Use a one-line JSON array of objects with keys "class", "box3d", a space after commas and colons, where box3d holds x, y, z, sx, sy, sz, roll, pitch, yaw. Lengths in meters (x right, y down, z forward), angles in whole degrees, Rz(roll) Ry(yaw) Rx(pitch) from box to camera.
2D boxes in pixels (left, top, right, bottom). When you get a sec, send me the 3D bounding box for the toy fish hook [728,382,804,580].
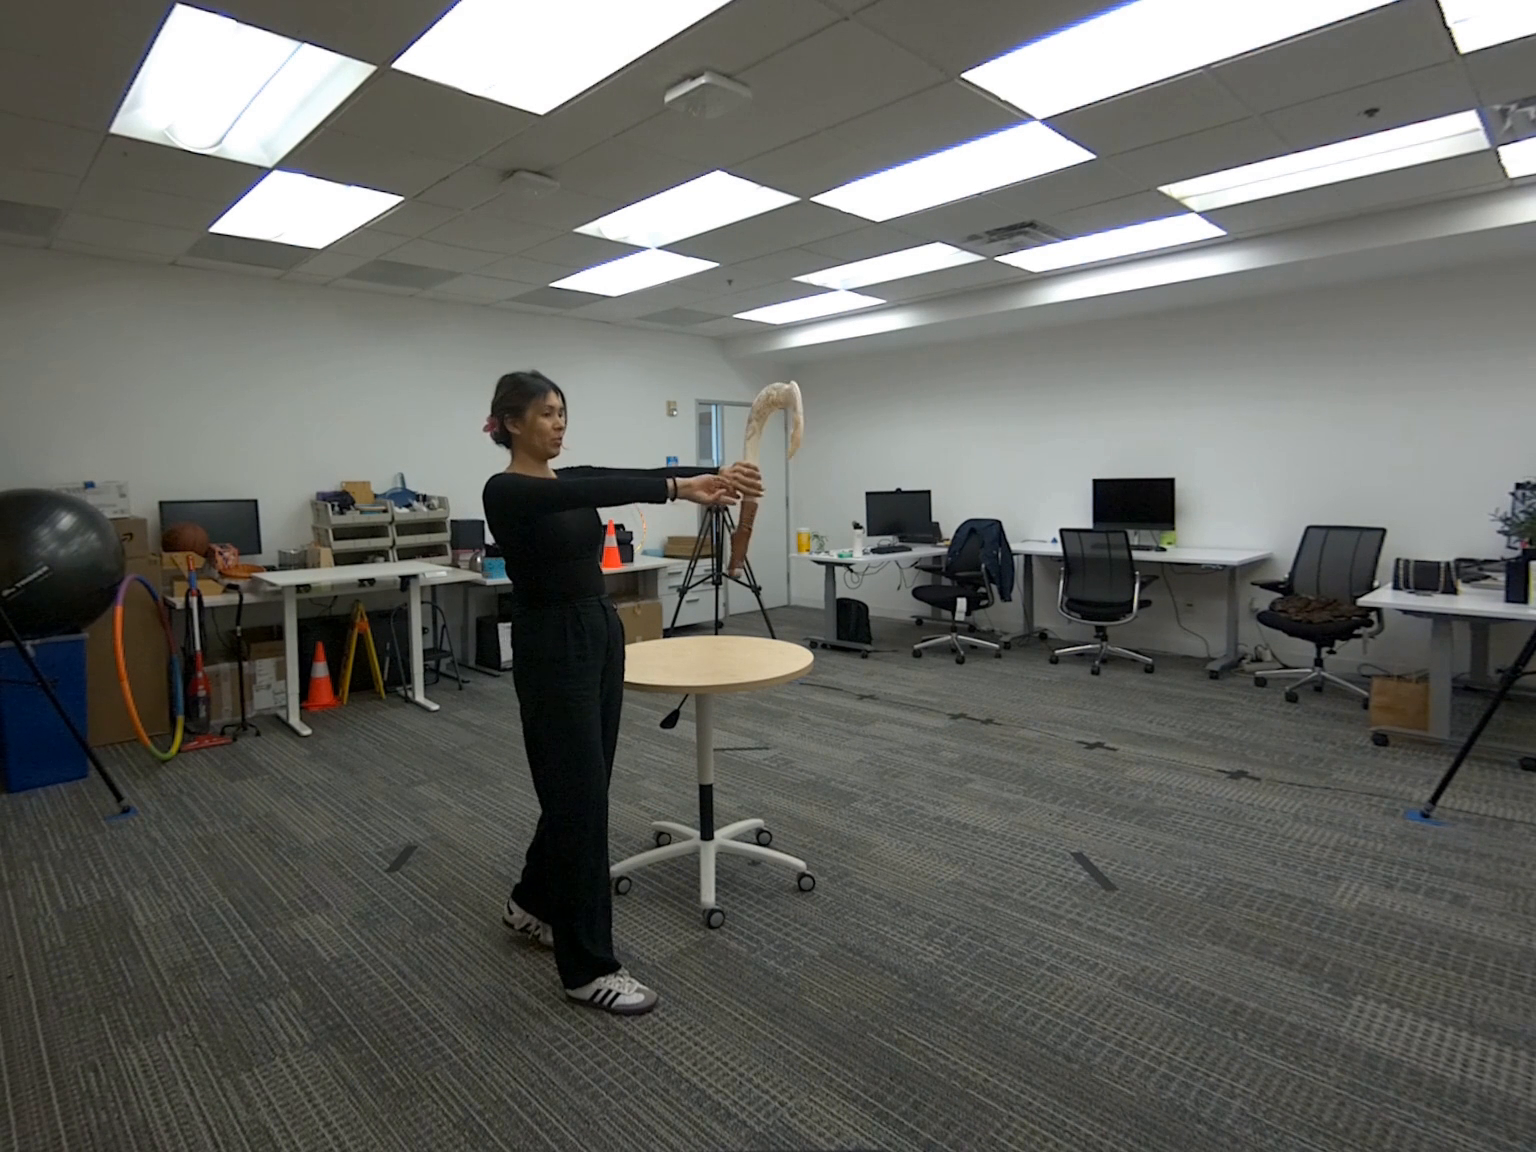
[{"class": "toy fish hook", "box3d": [-0.012, -0.231, 2.130, 0.047, 0.507, 0.231, 11, -2, -35]}]
